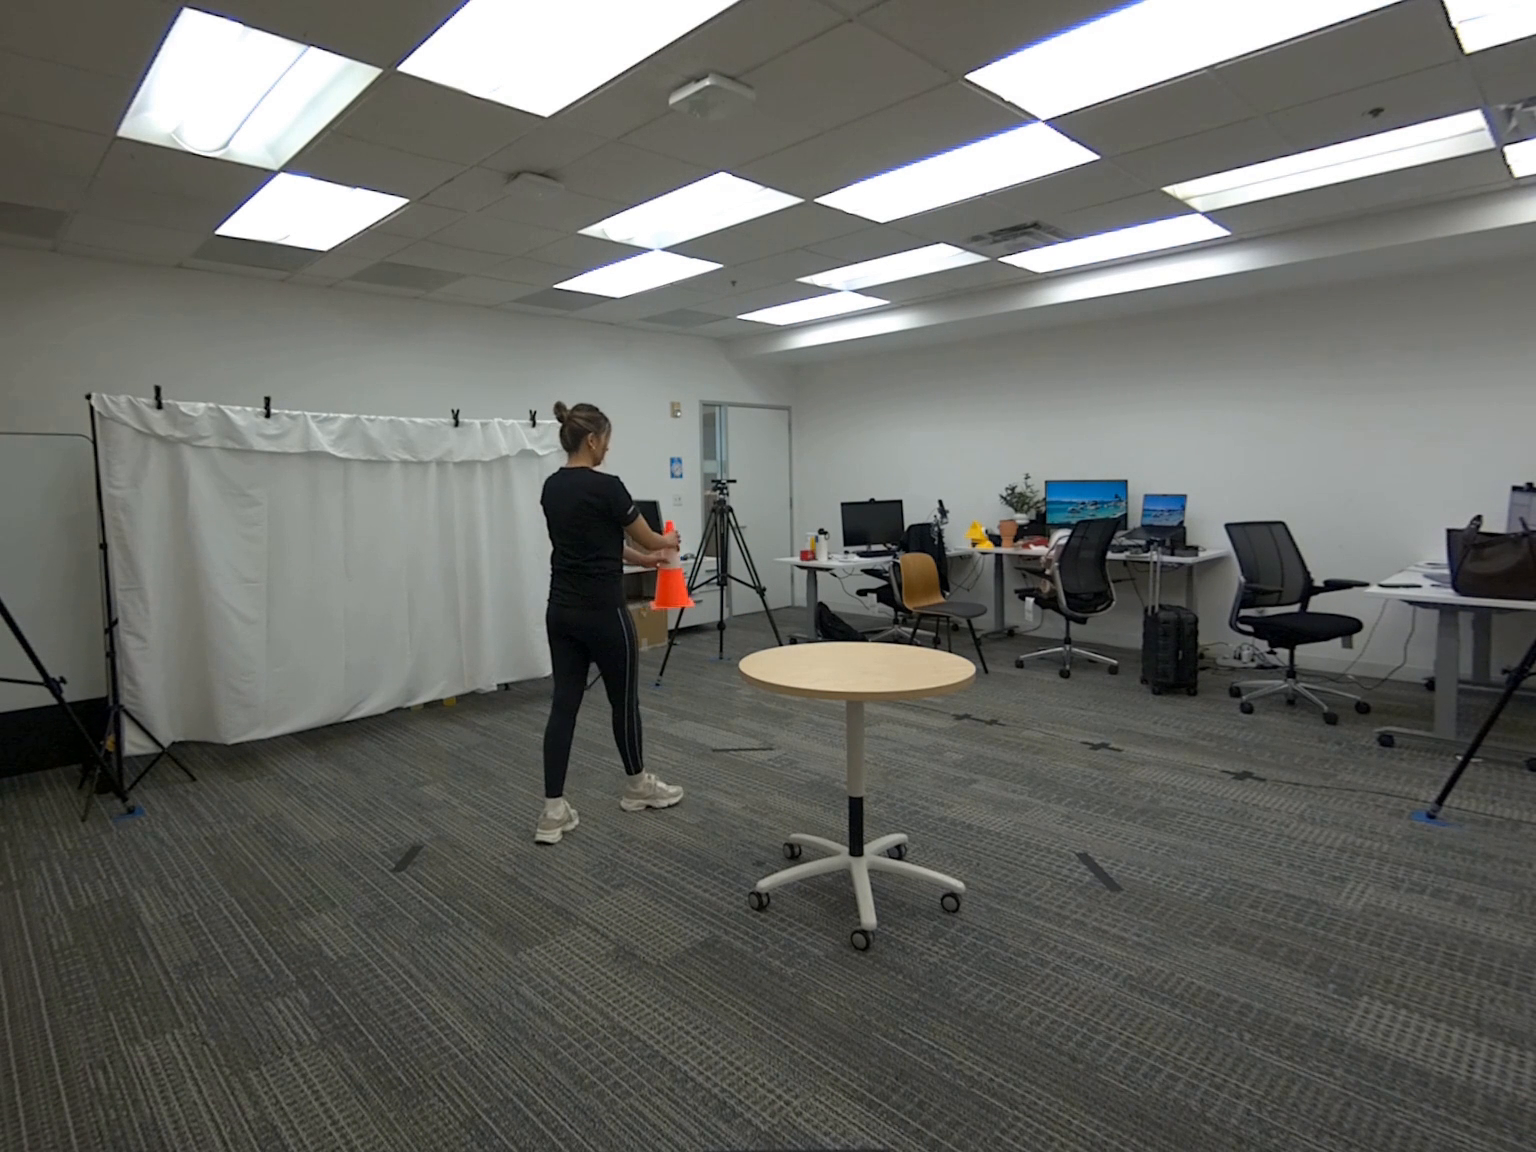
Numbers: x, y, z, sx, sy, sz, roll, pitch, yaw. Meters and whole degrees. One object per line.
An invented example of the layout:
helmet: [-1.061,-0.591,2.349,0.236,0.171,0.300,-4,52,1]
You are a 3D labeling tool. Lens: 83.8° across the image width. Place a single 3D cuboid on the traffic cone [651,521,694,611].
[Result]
traffic cone: [-0.442,-0.062,3.878,0.202,0.382,0.207,-2,6,-16]
